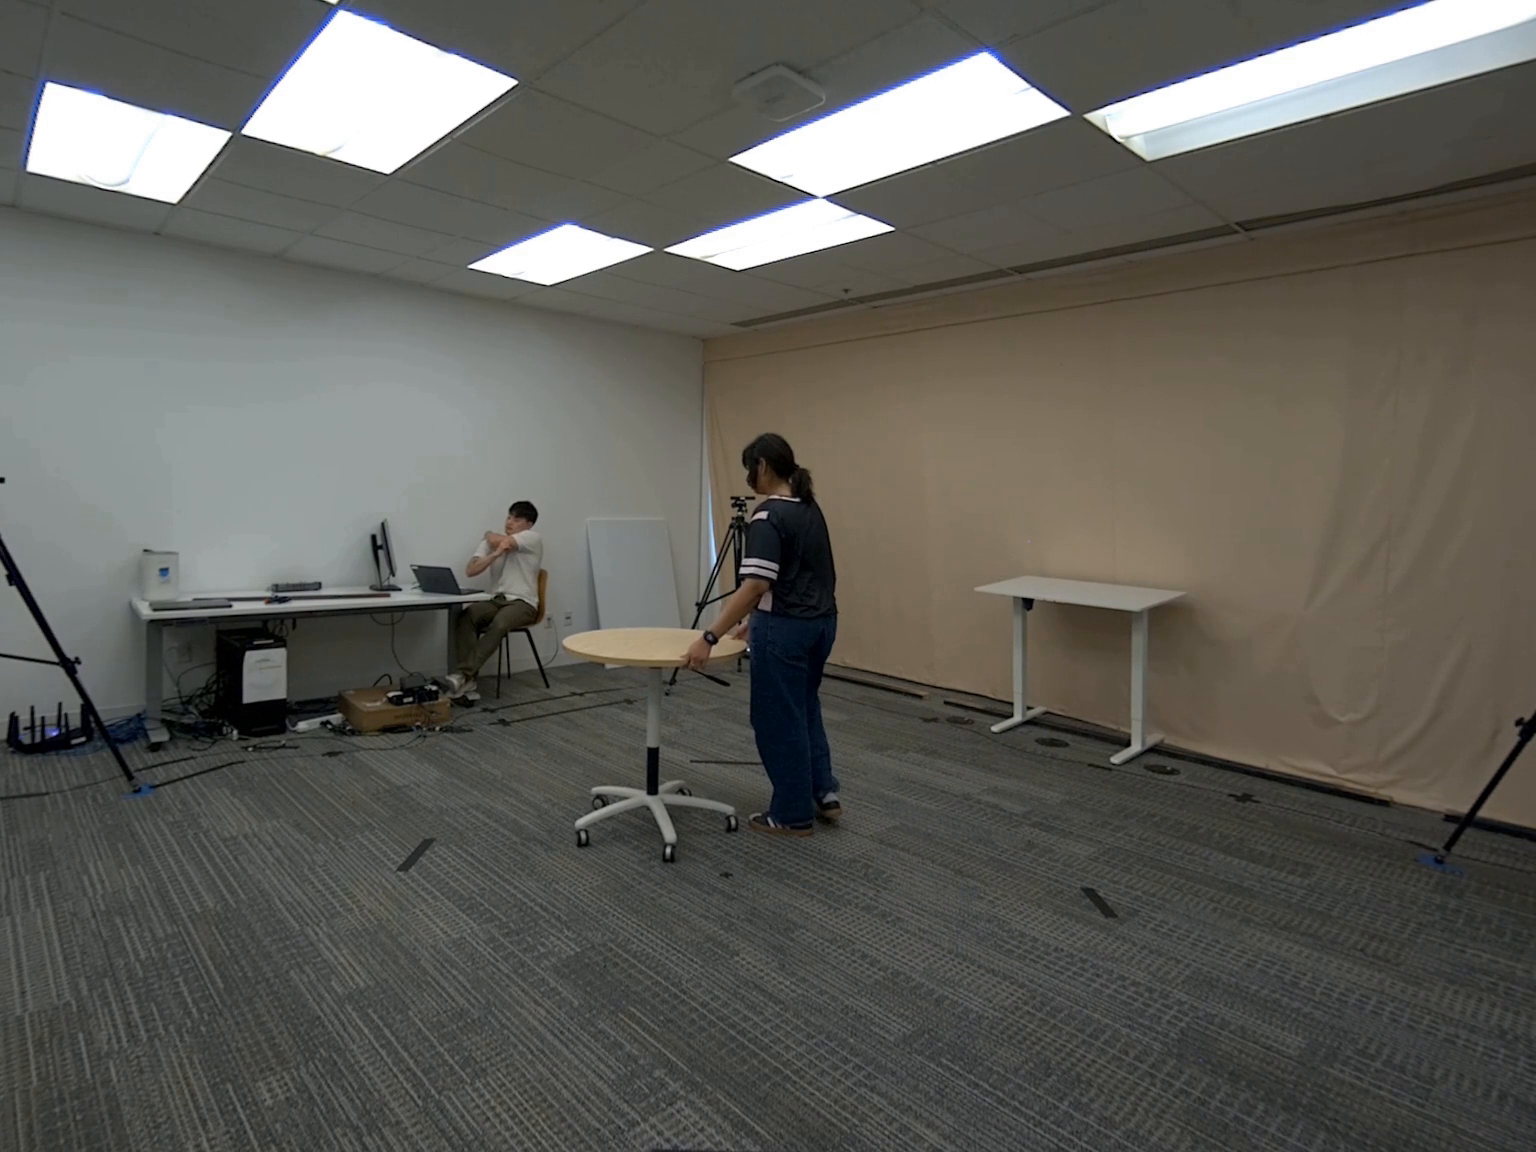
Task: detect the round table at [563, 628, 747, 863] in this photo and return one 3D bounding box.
[{"bbox_3d":[-0.494,0.660,3.538,0.784,0.784,0.788,2,4,-2],"label":"round table"}]
